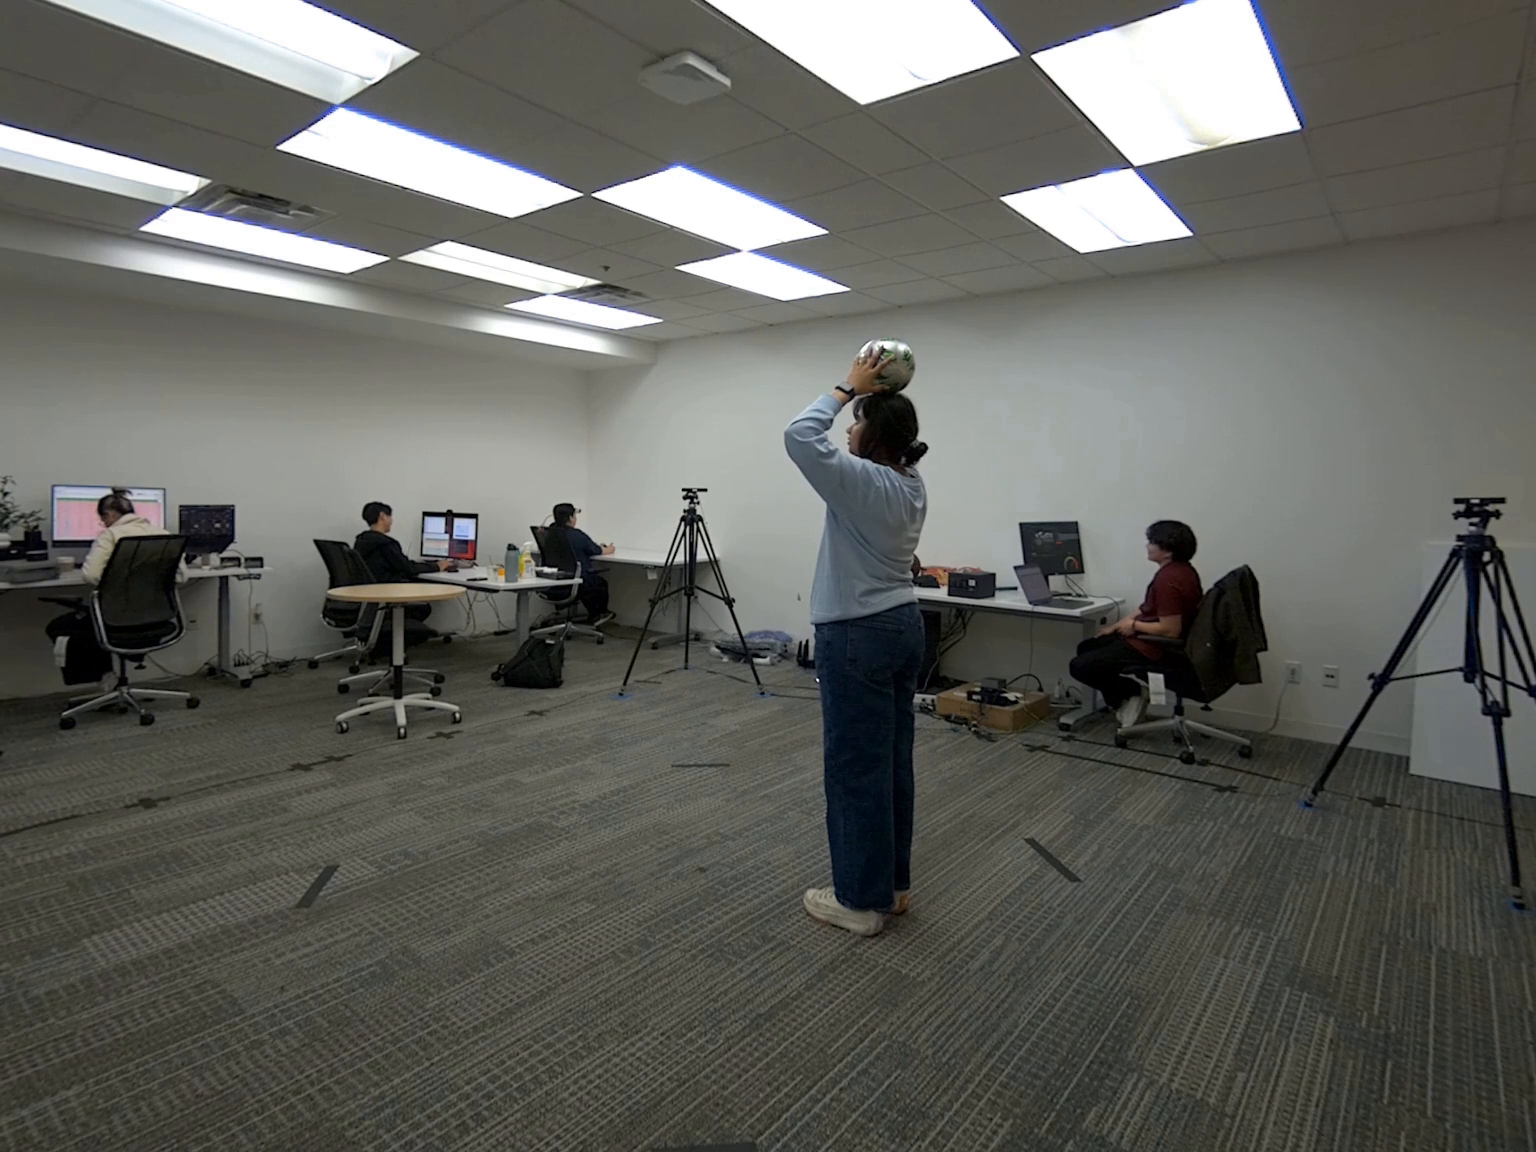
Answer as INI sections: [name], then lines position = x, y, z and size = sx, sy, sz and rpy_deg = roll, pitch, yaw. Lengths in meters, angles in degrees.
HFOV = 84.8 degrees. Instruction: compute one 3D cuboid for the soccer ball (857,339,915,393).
[soccer ball]
position = 0.367, -0.672, 2.727
size = 0.187, 0.187, 0.188
rpy_deg = 1, 4, -2
